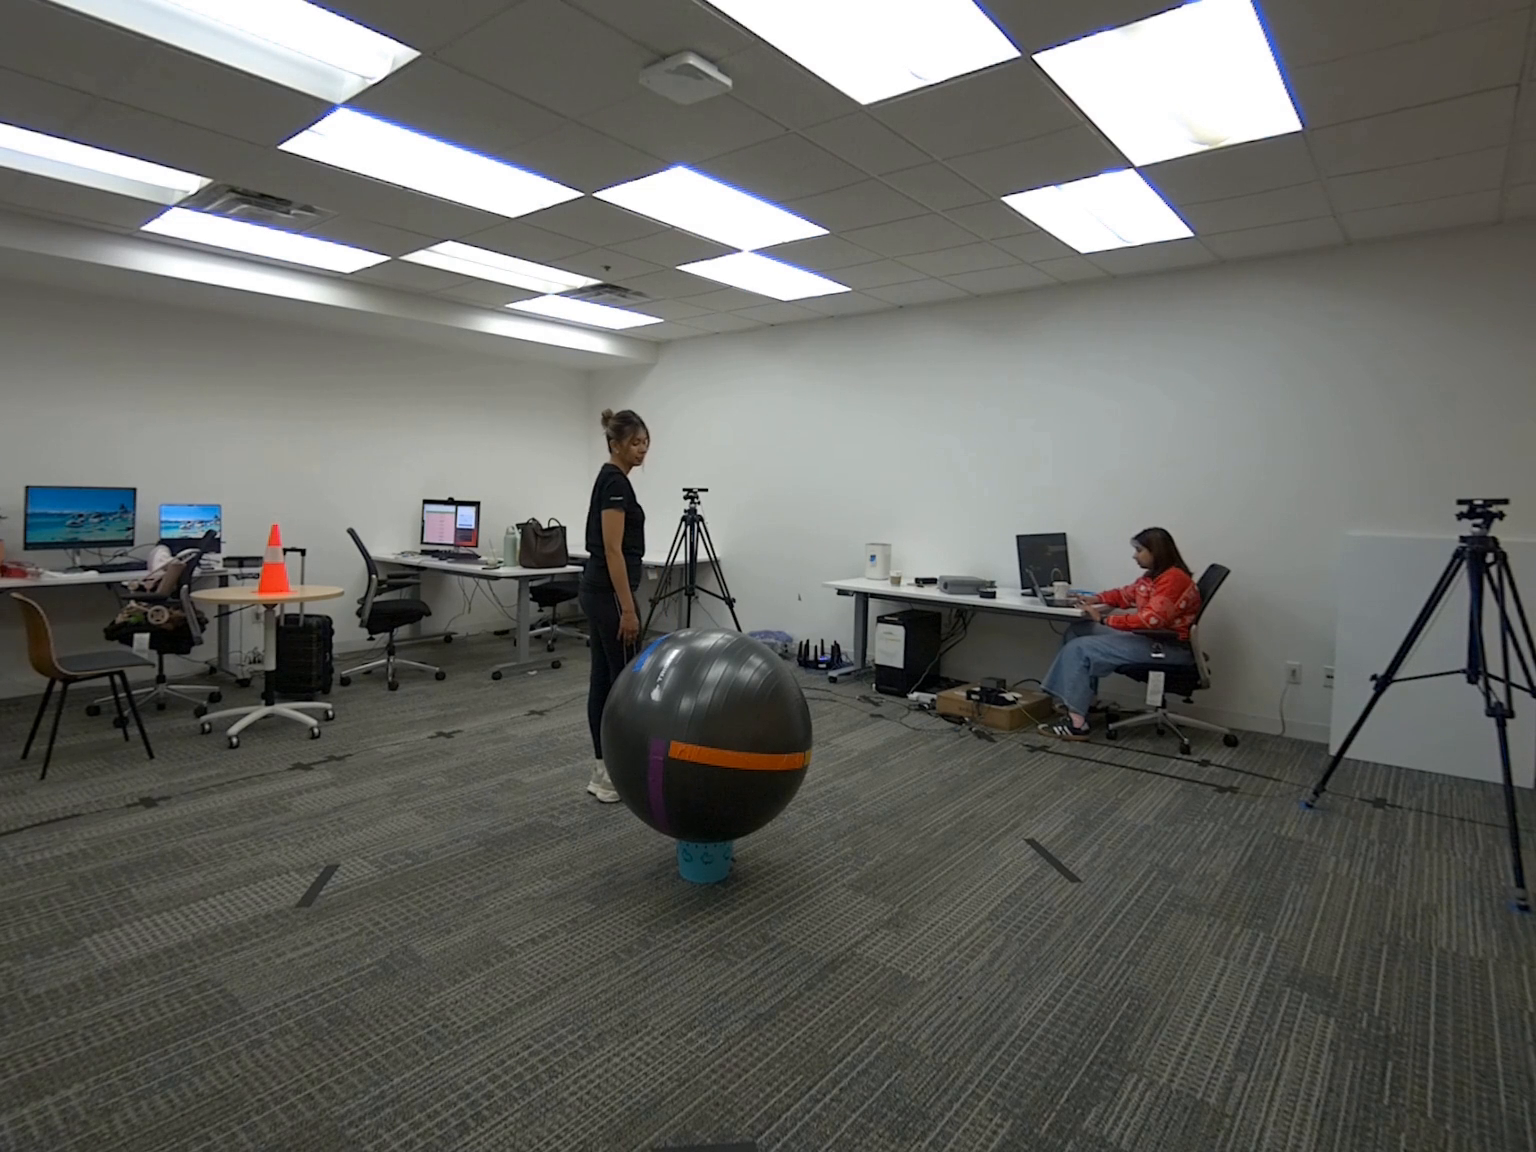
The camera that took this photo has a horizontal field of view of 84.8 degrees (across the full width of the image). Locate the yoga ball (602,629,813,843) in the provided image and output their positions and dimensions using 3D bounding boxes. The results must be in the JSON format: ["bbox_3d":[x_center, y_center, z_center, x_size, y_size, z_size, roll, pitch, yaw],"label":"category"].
[{"bbox_3d":[-0.233,0.560,3.068,0.757,0.756,0.761,1,4,-2],"label":"yoga ball"}]
